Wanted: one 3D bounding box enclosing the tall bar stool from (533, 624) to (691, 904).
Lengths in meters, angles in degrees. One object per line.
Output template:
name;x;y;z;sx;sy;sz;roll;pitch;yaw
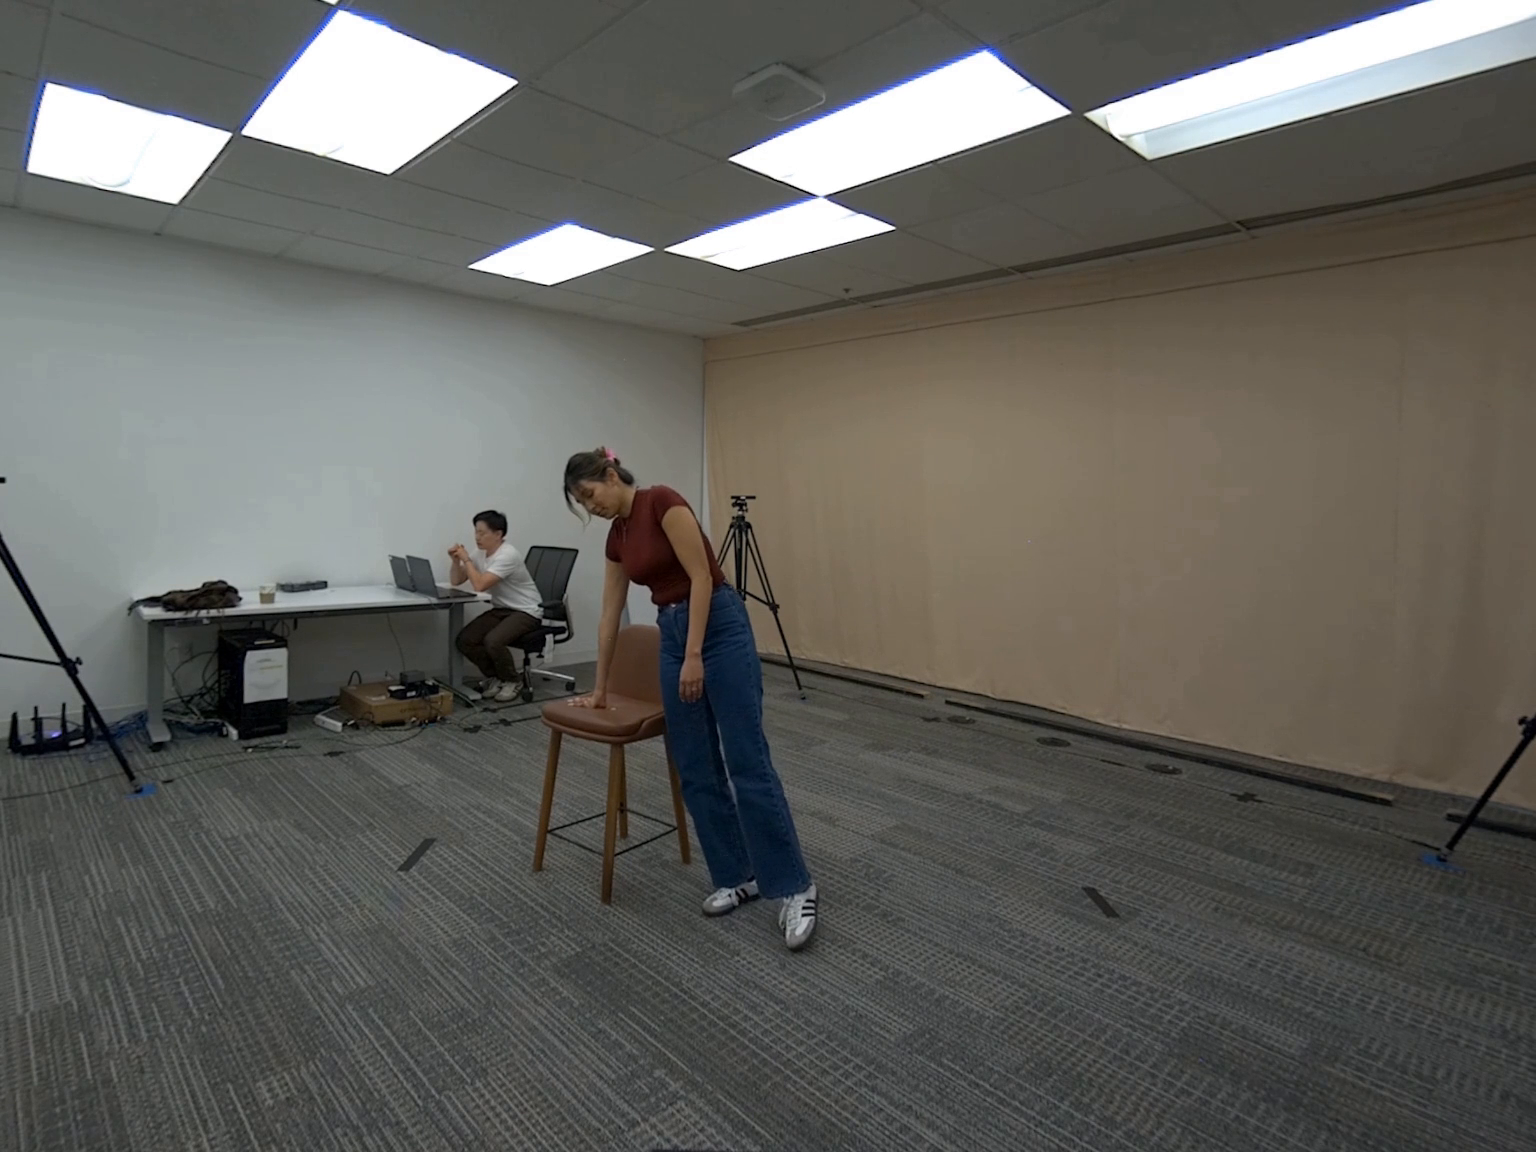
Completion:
tall bar stool;-0.571;0.658;3.131;0.468;0.888;0.457;4;3;38
